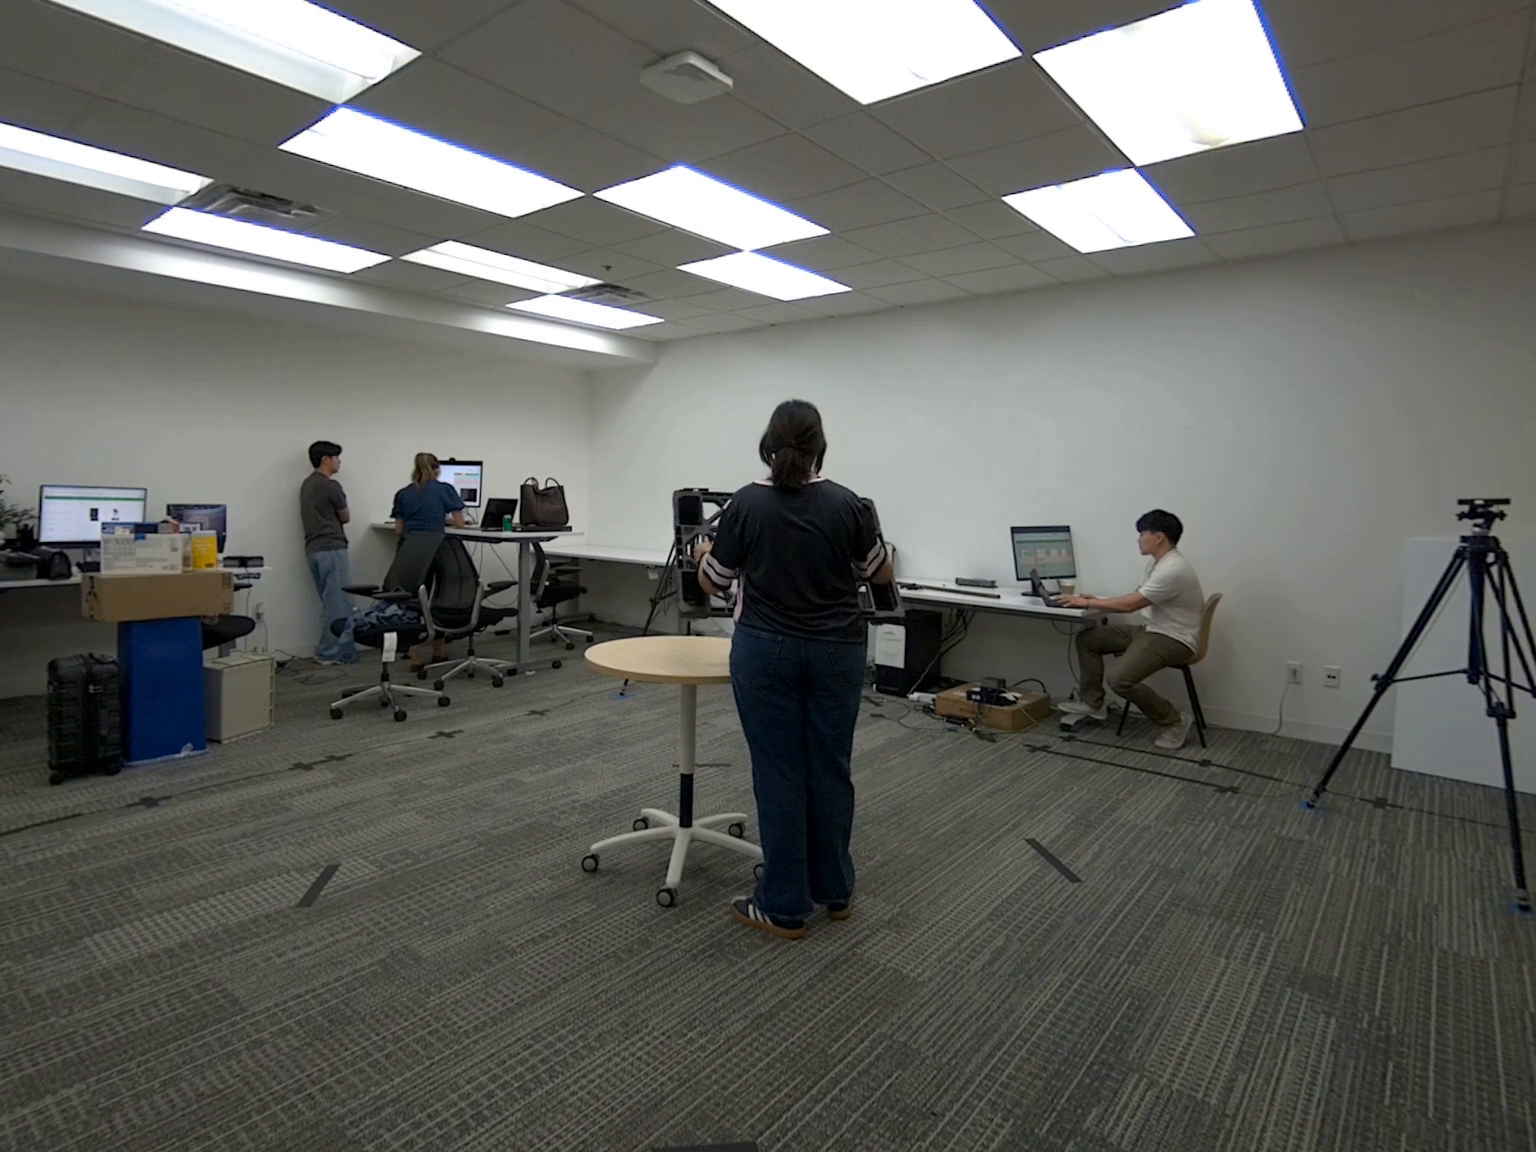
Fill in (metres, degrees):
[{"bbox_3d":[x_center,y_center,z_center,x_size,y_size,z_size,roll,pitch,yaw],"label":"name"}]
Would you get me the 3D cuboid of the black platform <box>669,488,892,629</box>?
[{"bbox_3d":[0.046,-0.055,3.168,0.797,0.625,0.140,1,-42,-10],"label":"black platform"}]
